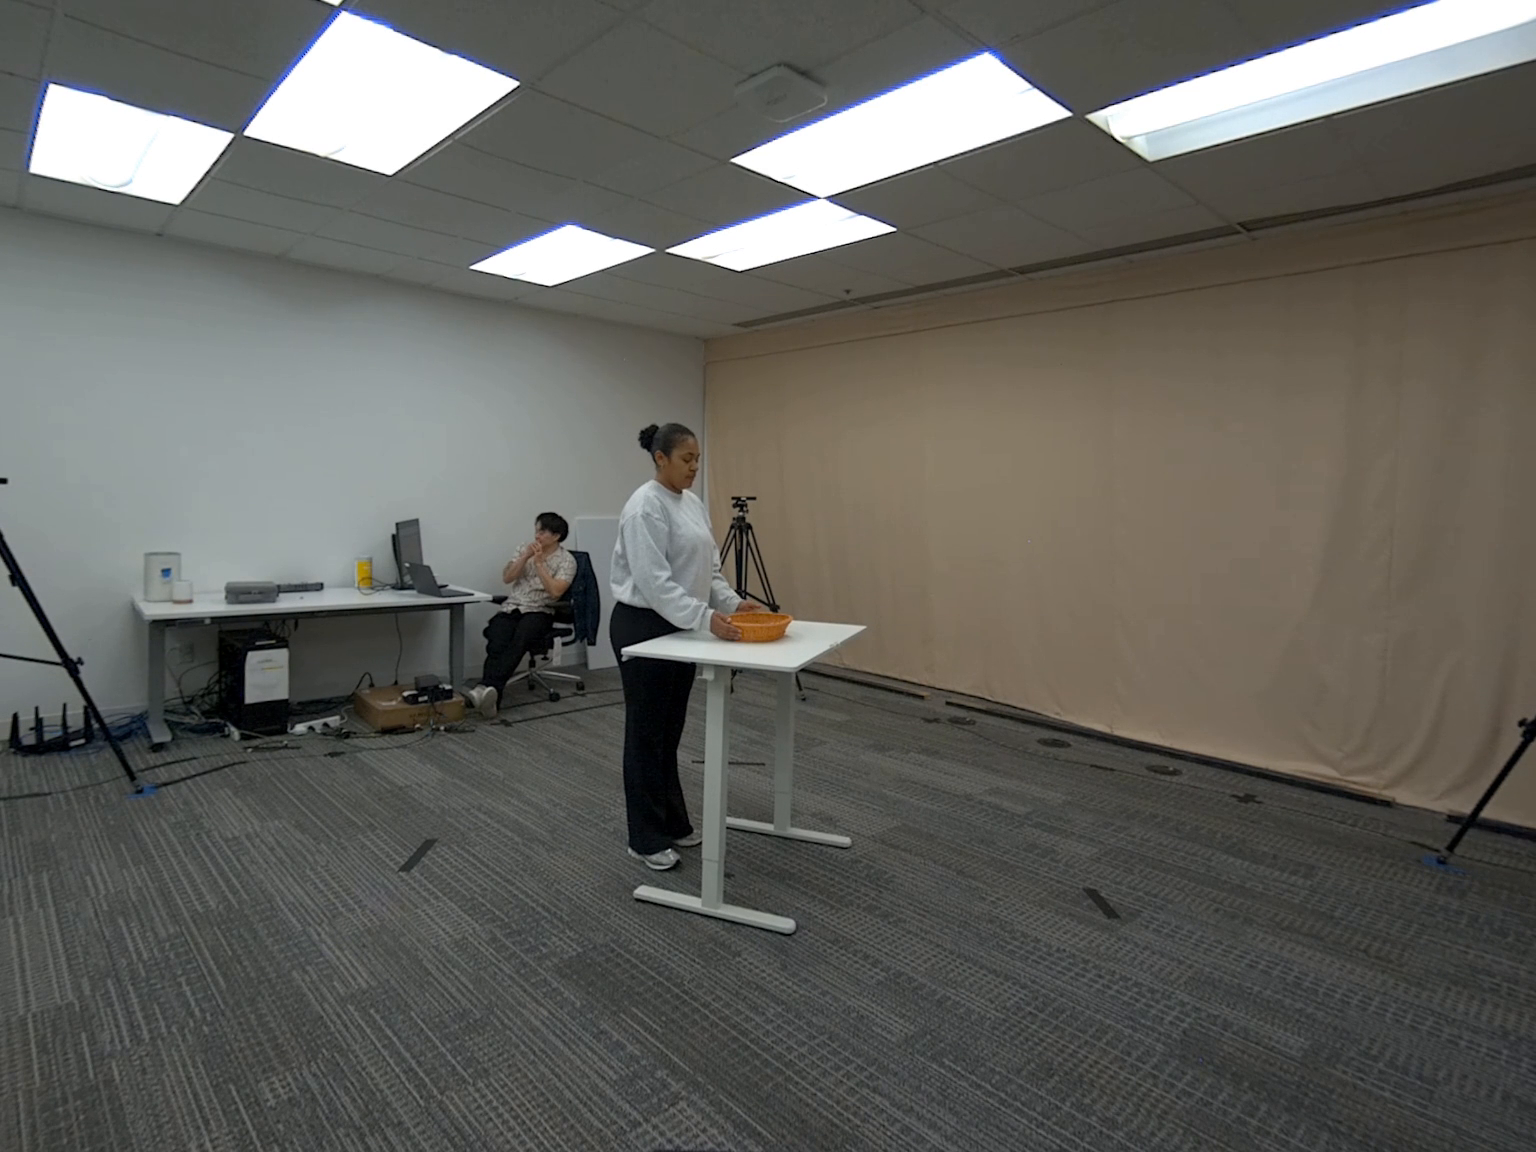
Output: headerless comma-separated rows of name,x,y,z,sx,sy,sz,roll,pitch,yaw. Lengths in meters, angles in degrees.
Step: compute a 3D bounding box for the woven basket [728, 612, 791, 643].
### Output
woven basket,-0.090,0.187,3.109,0.259,0.073,0.342,6,7,40
